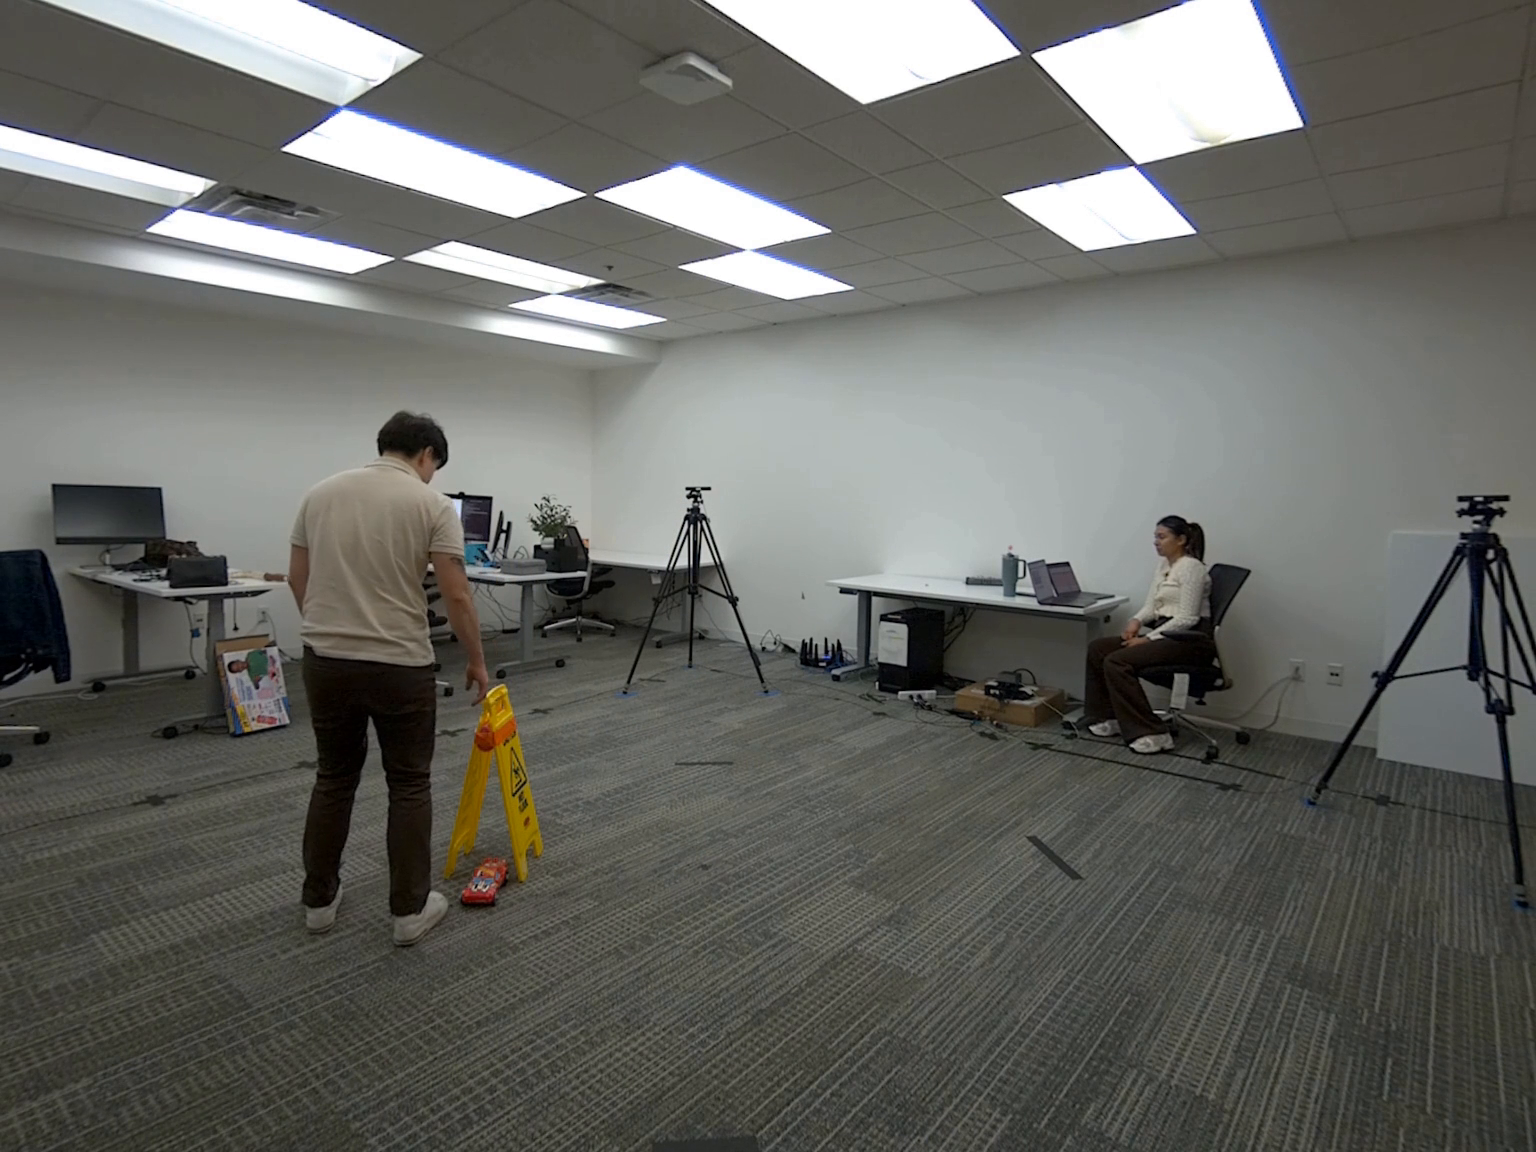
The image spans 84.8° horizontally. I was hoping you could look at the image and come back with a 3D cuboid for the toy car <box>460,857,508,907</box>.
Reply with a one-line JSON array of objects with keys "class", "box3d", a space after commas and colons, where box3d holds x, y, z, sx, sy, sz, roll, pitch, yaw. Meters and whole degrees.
[{"class": "toy car", "box3d": [-0.978, 1.045, 2.906, 0.130, 0.082, 0.258, 0, 17, -2]}]
